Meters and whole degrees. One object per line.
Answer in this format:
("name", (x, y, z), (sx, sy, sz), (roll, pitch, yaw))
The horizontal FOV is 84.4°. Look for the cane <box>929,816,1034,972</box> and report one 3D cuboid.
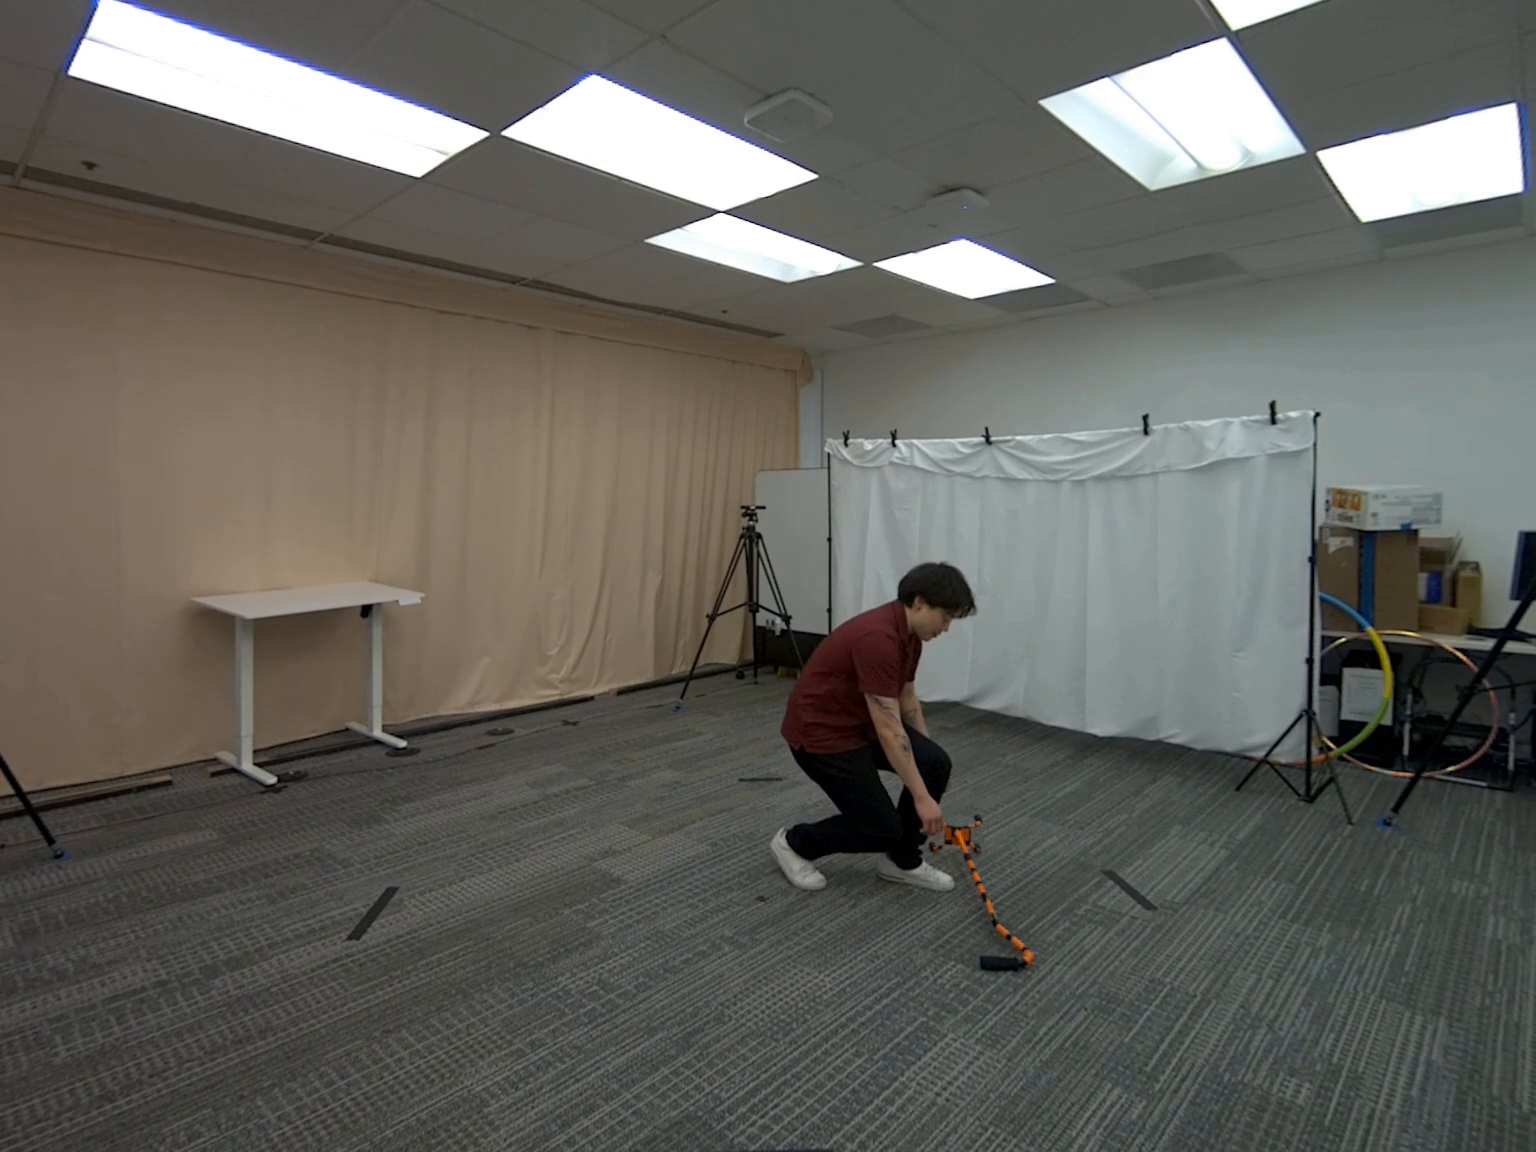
("cane", (0.746, 1.093, 2.956), (0.207, 0.151, 0.909), (0, 8, 2))
